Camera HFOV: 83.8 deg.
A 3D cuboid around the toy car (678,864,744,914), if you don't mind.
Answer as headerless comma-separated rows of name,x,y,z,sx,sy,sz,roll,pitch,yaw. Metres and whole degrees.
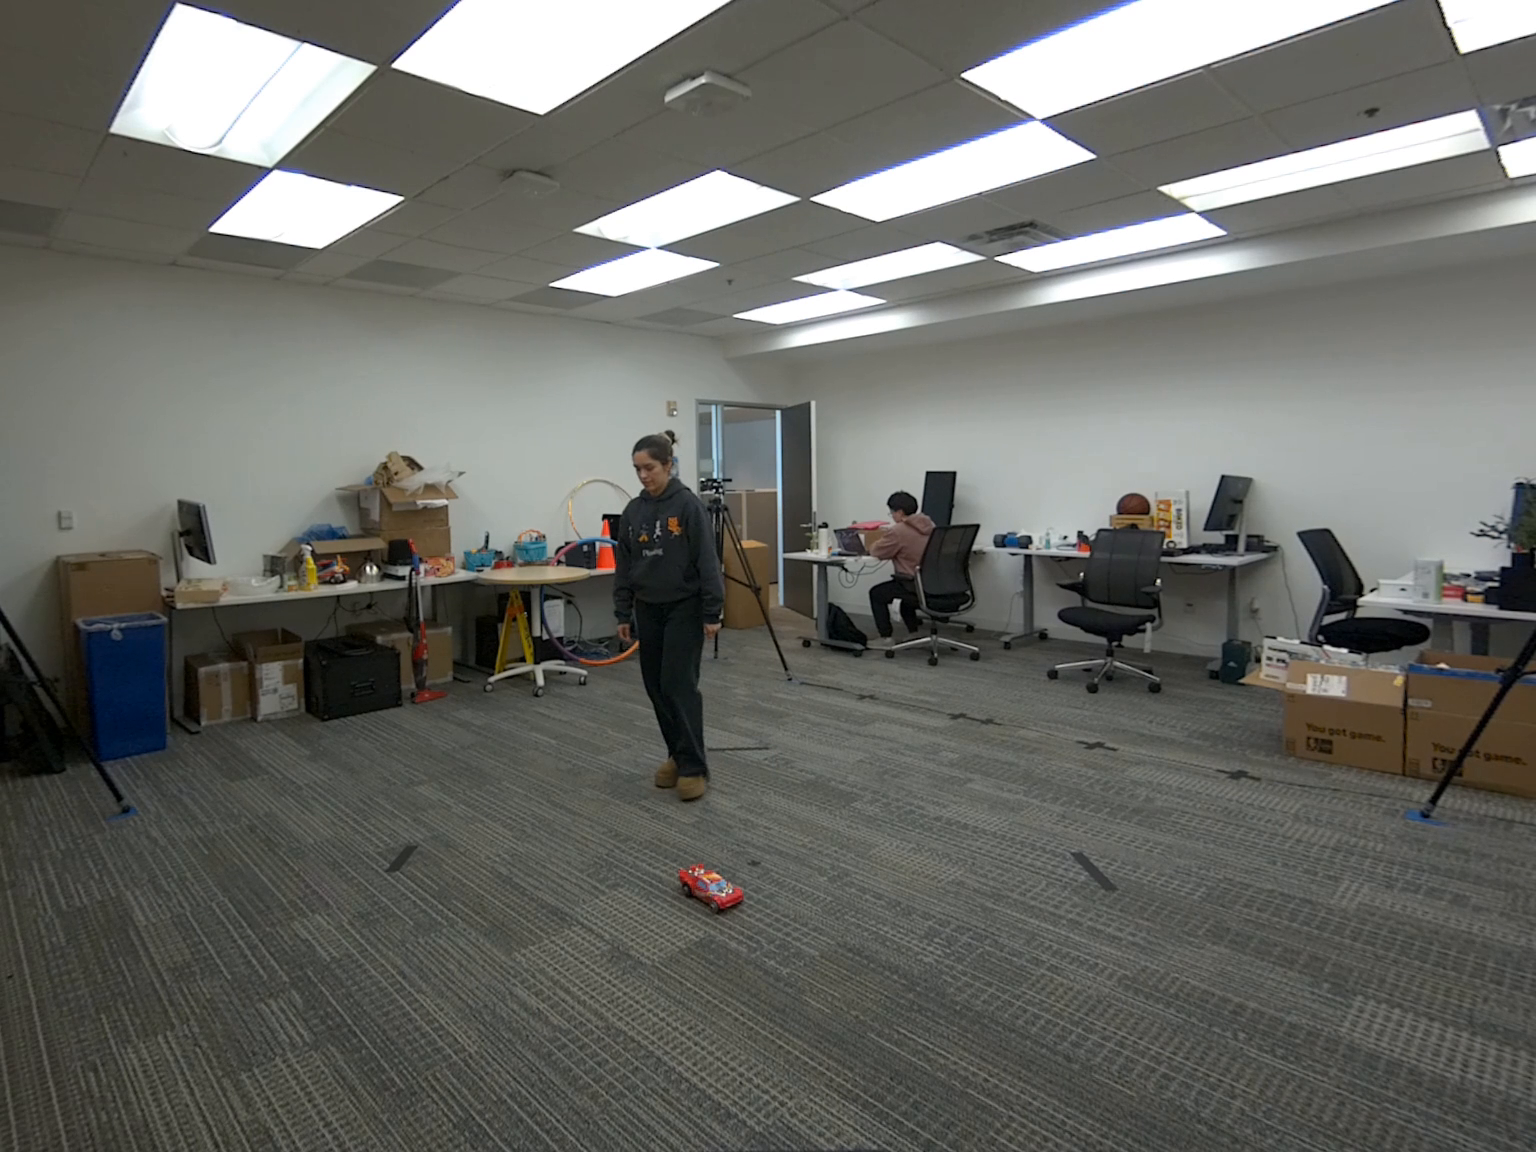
toy car,-0.199,1.046,2.846,0.127,0.082,0.264,-6,19,-40
